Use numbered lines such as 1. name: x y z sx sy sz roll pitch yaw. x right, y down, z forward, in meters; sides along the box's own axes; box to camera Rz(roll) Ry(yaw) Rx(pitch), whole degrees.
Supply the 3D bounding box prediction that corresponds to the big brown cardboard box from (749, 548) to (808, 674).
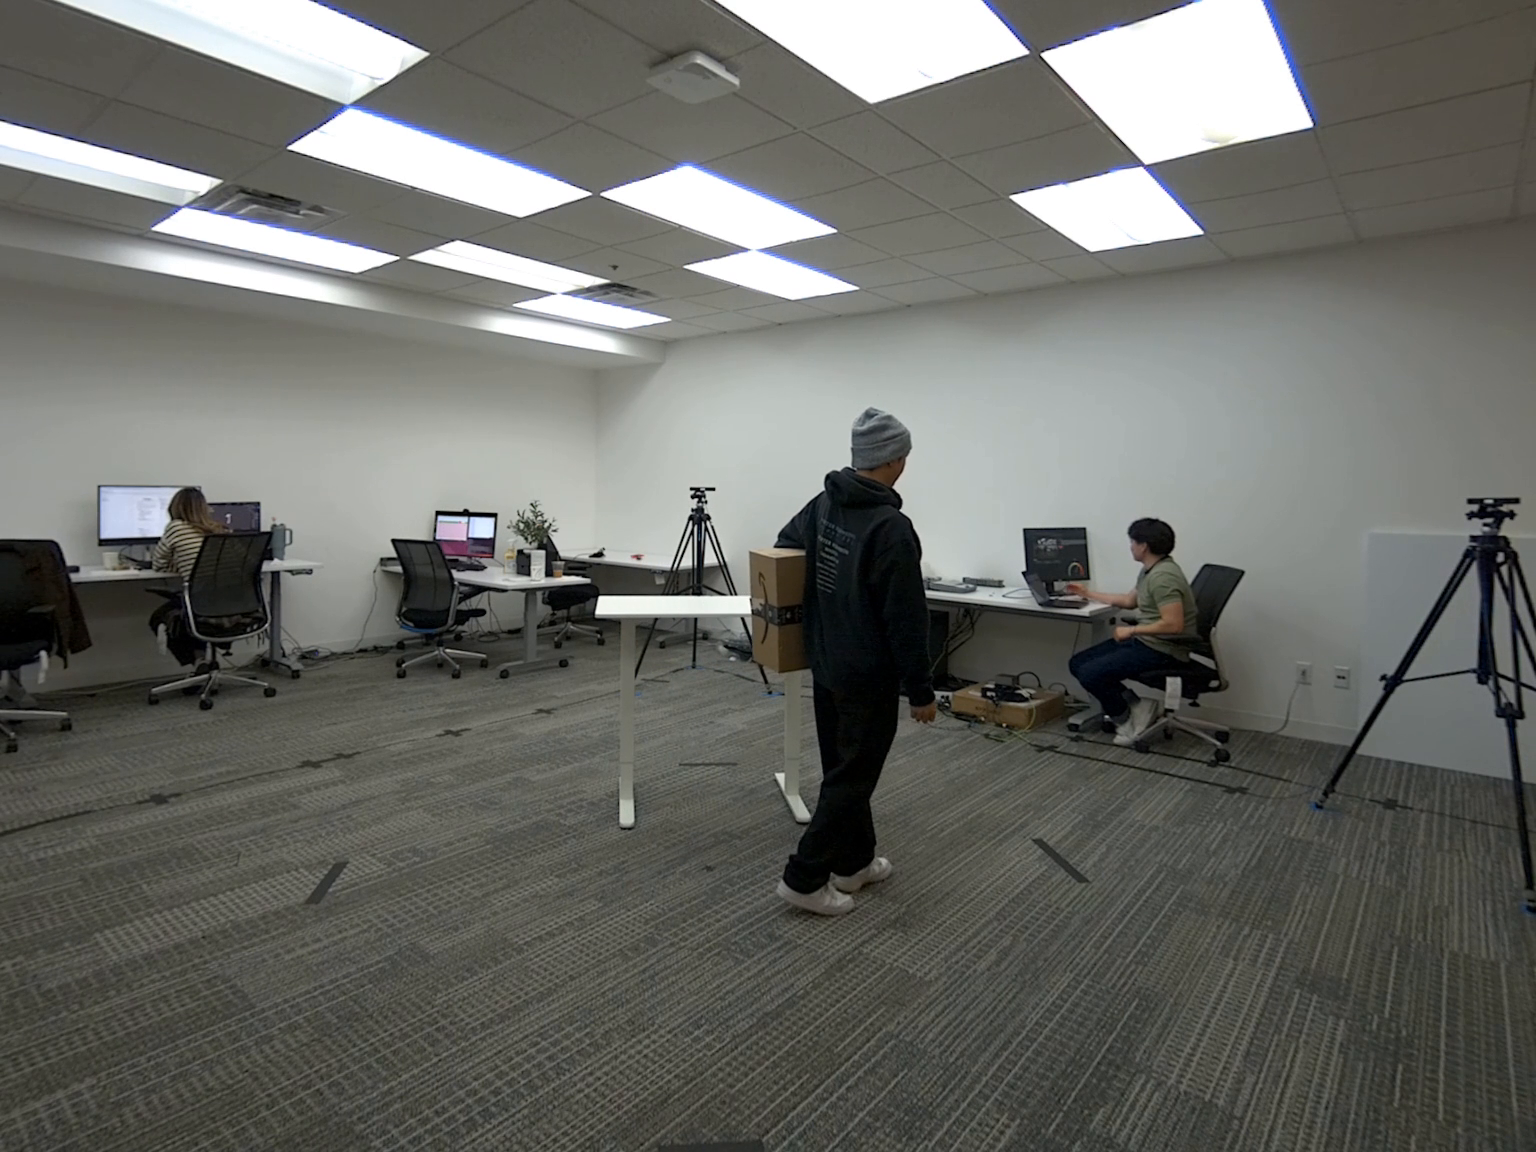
1. big brown cardboard box: 0.227 0.096 3.163 0.576 0.415 0.240 -4 7 -25
